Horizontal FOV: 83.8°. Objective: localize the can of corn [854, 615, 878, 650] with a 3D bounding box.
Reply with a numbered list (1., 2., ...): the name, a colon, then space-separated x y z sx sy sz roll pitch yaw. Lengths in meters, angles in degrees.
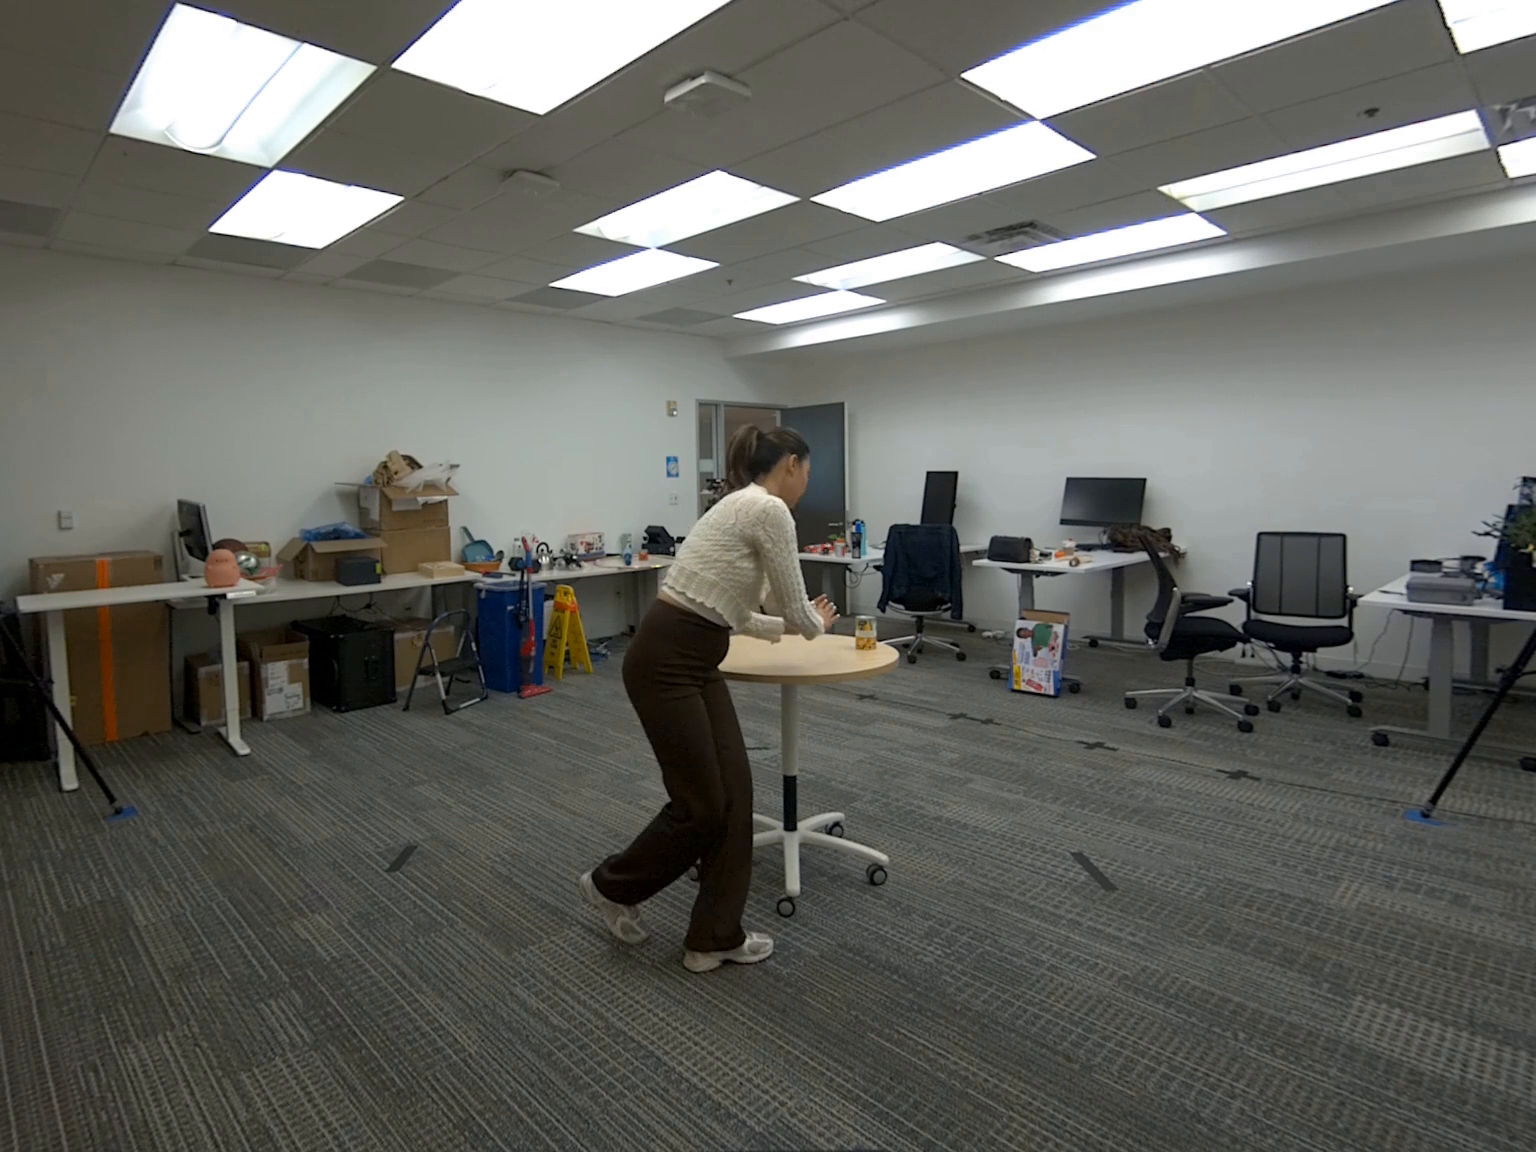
1. can of corn: 0.355 0.206 3.062 0.074 0.110 0.074 2 5 -2
